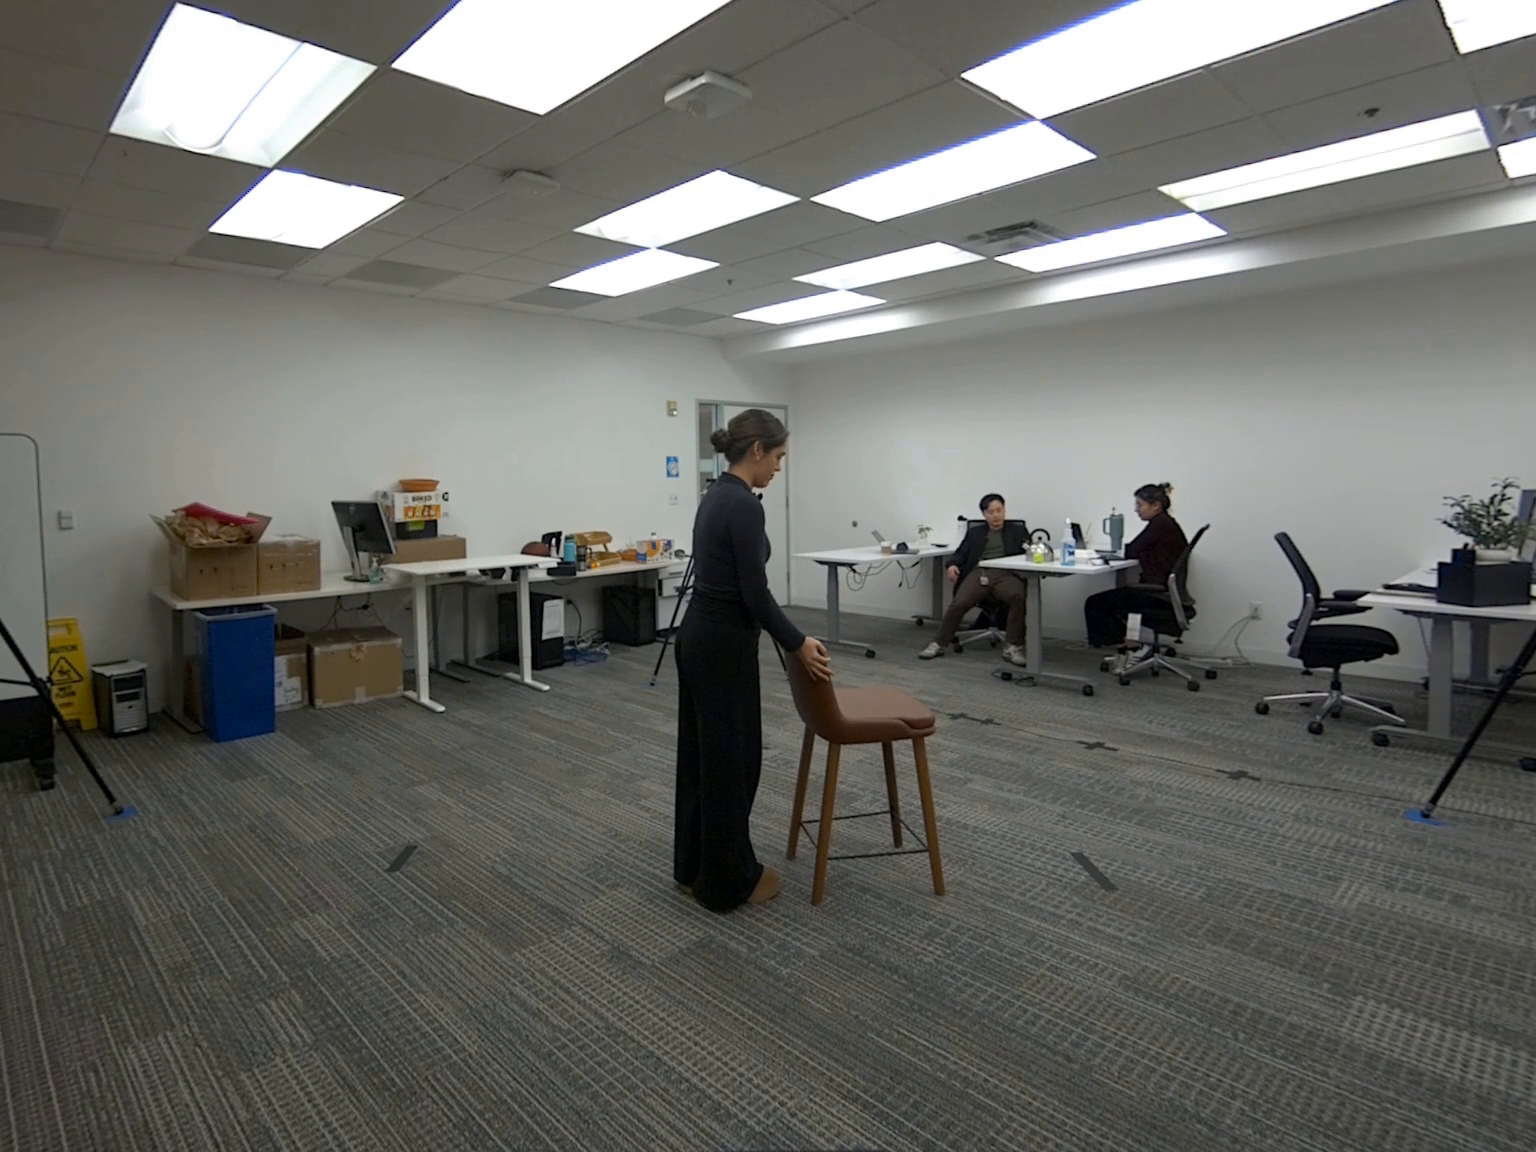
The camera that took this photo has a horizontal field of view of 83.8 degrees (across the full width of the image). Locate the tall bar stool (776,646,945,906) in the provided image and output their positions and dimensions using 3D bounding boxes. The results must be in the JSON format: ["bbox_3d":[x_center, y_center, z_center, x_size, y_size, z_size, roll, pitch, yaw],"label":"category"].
[{"bbox_3d":[0.311,0.612,2.981,0.463,0.886,0.463,-4,4,-11],"label":"tall bar stool"}]
